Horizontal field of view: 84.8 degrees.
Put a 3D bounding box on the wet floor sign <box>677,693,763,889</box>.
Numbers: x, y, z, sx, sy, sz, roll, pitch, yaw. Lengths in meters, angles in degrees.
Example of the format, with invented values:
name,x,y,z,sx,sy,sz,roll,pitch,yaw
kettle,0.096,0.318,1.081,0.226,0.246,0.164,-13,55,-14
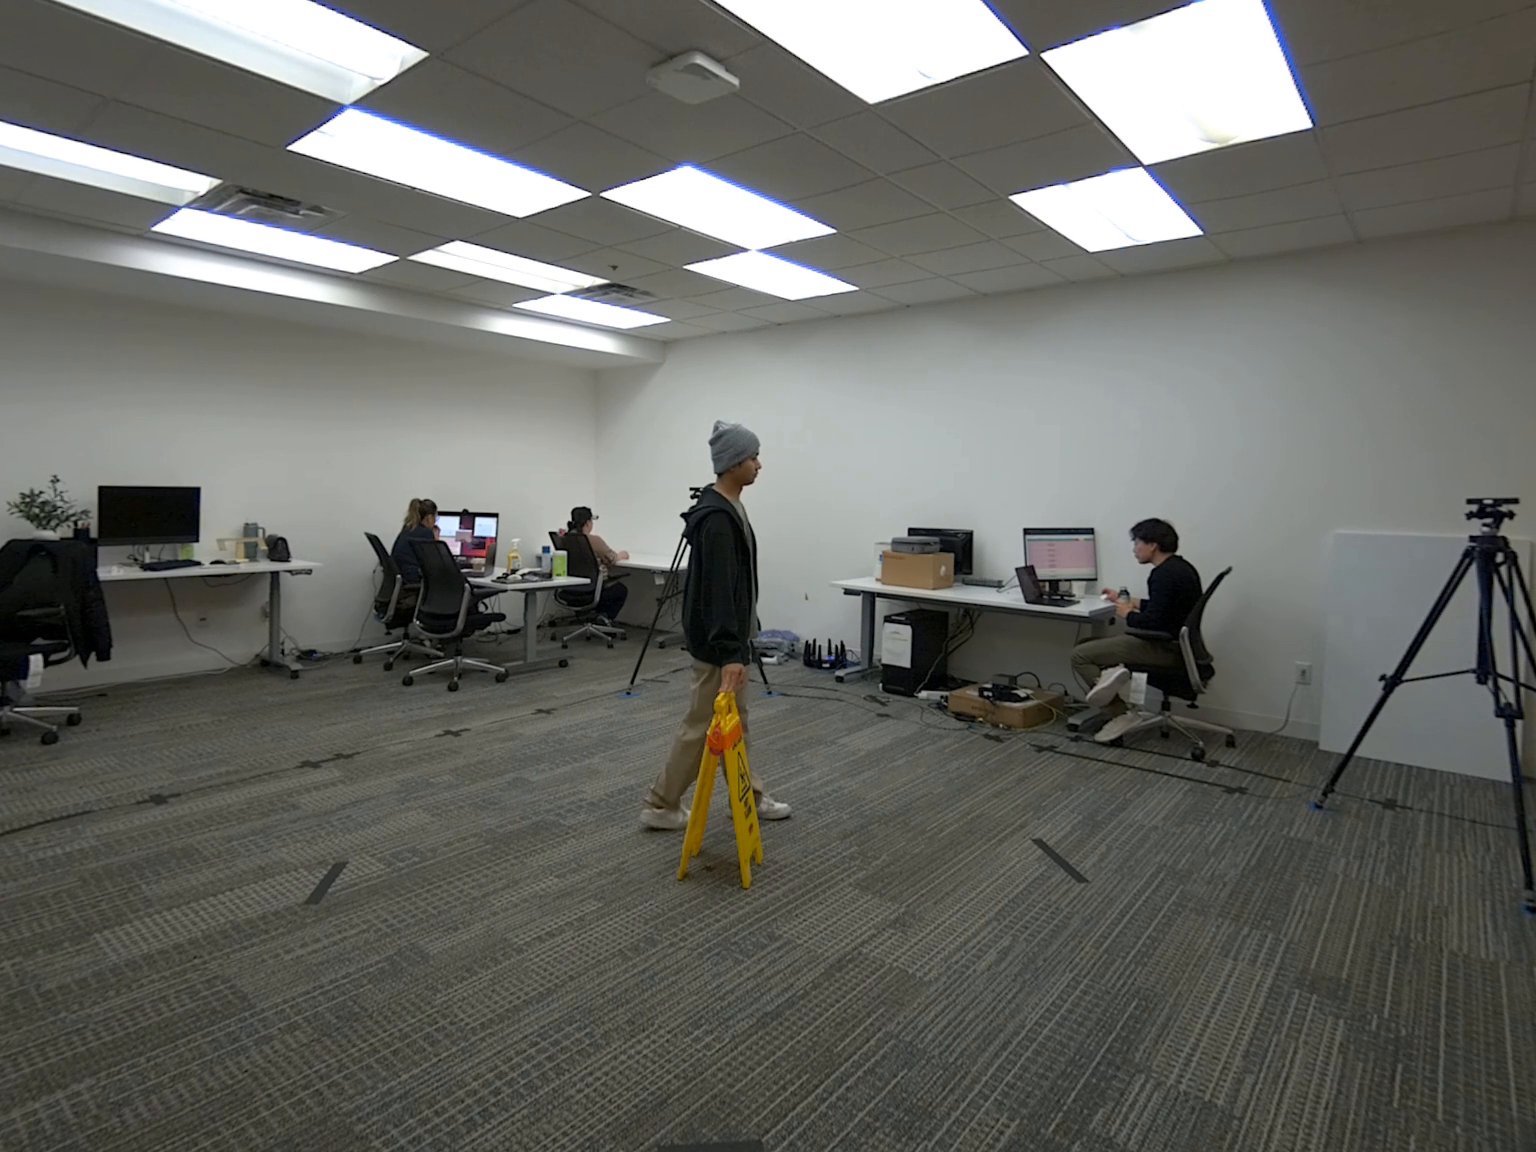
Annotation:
name,x,y,z,sx,sy,sz,roll,pitch,yaw
wet floor sign,-0.170,0.743,3.097,0.294,0.644,0.279,2,3,11
